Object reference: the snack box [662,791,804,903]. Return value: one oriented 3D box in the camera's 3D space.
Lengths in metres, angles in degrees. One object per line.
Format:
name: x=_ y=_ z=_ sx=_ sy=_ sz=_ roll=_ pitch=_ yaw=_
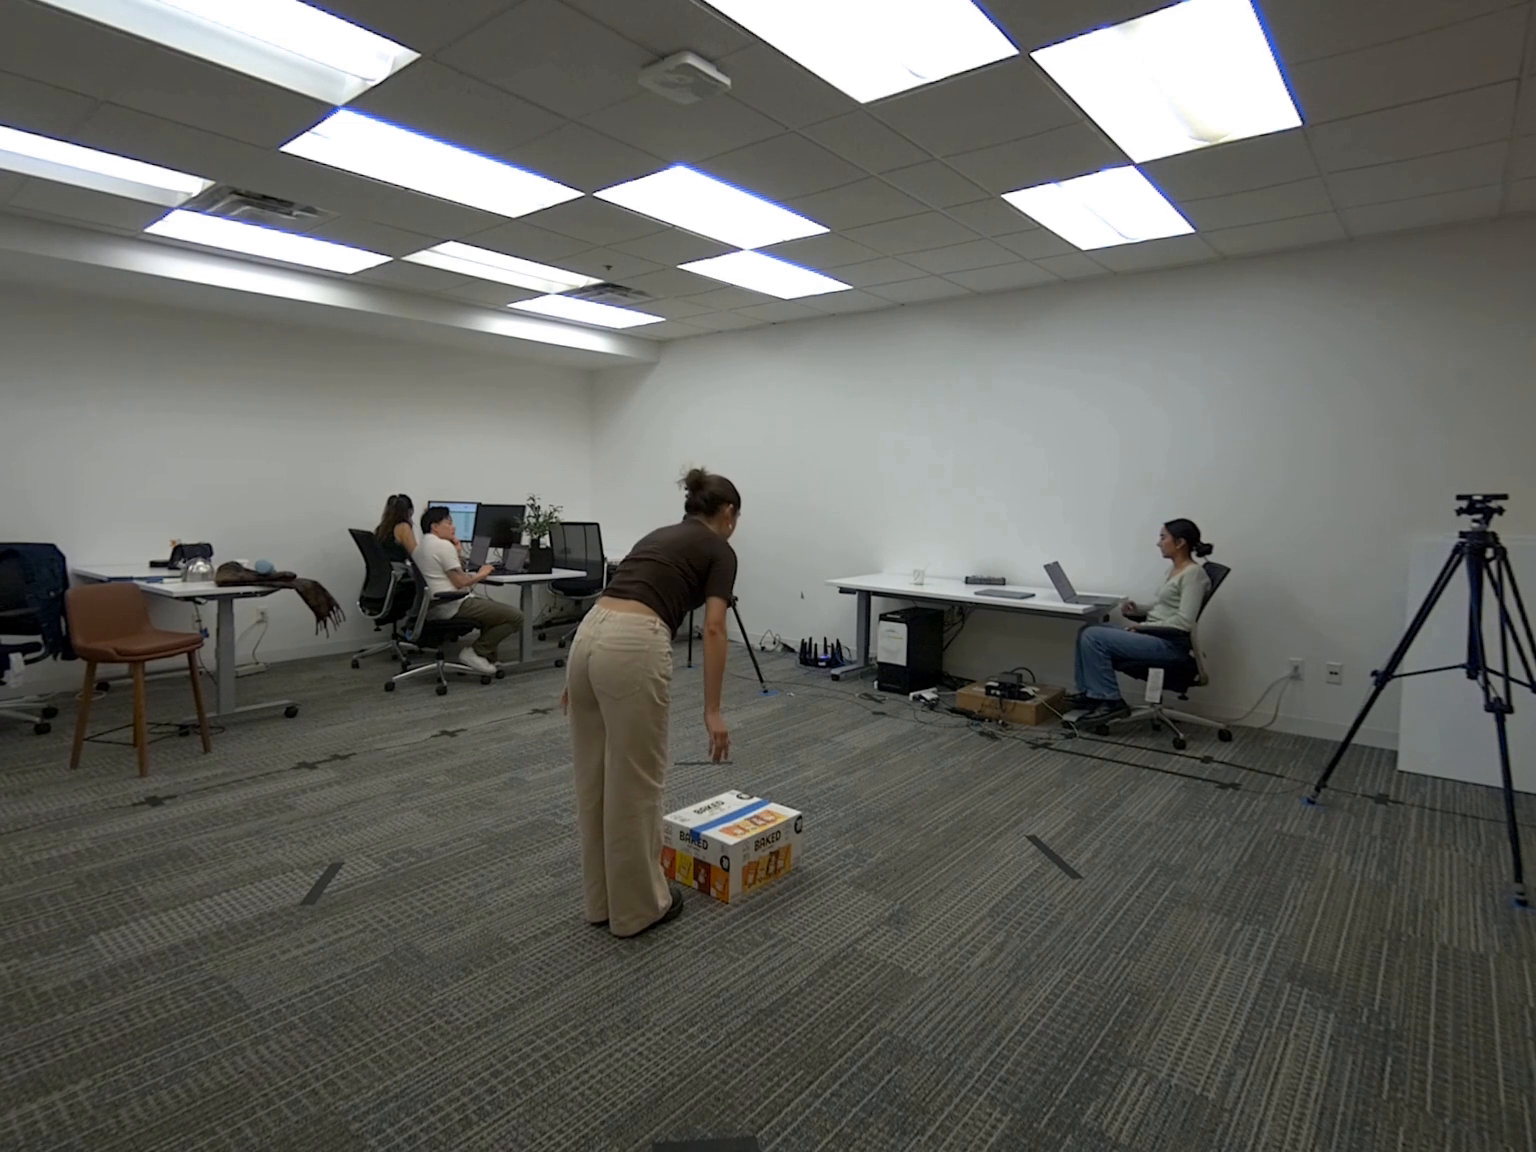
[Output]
snack box: x=-0.141 y=0.975 z=3.091 sx=0.352 sy=0.205 sz=0.393 roll=6 pitch=7 yaw=41
